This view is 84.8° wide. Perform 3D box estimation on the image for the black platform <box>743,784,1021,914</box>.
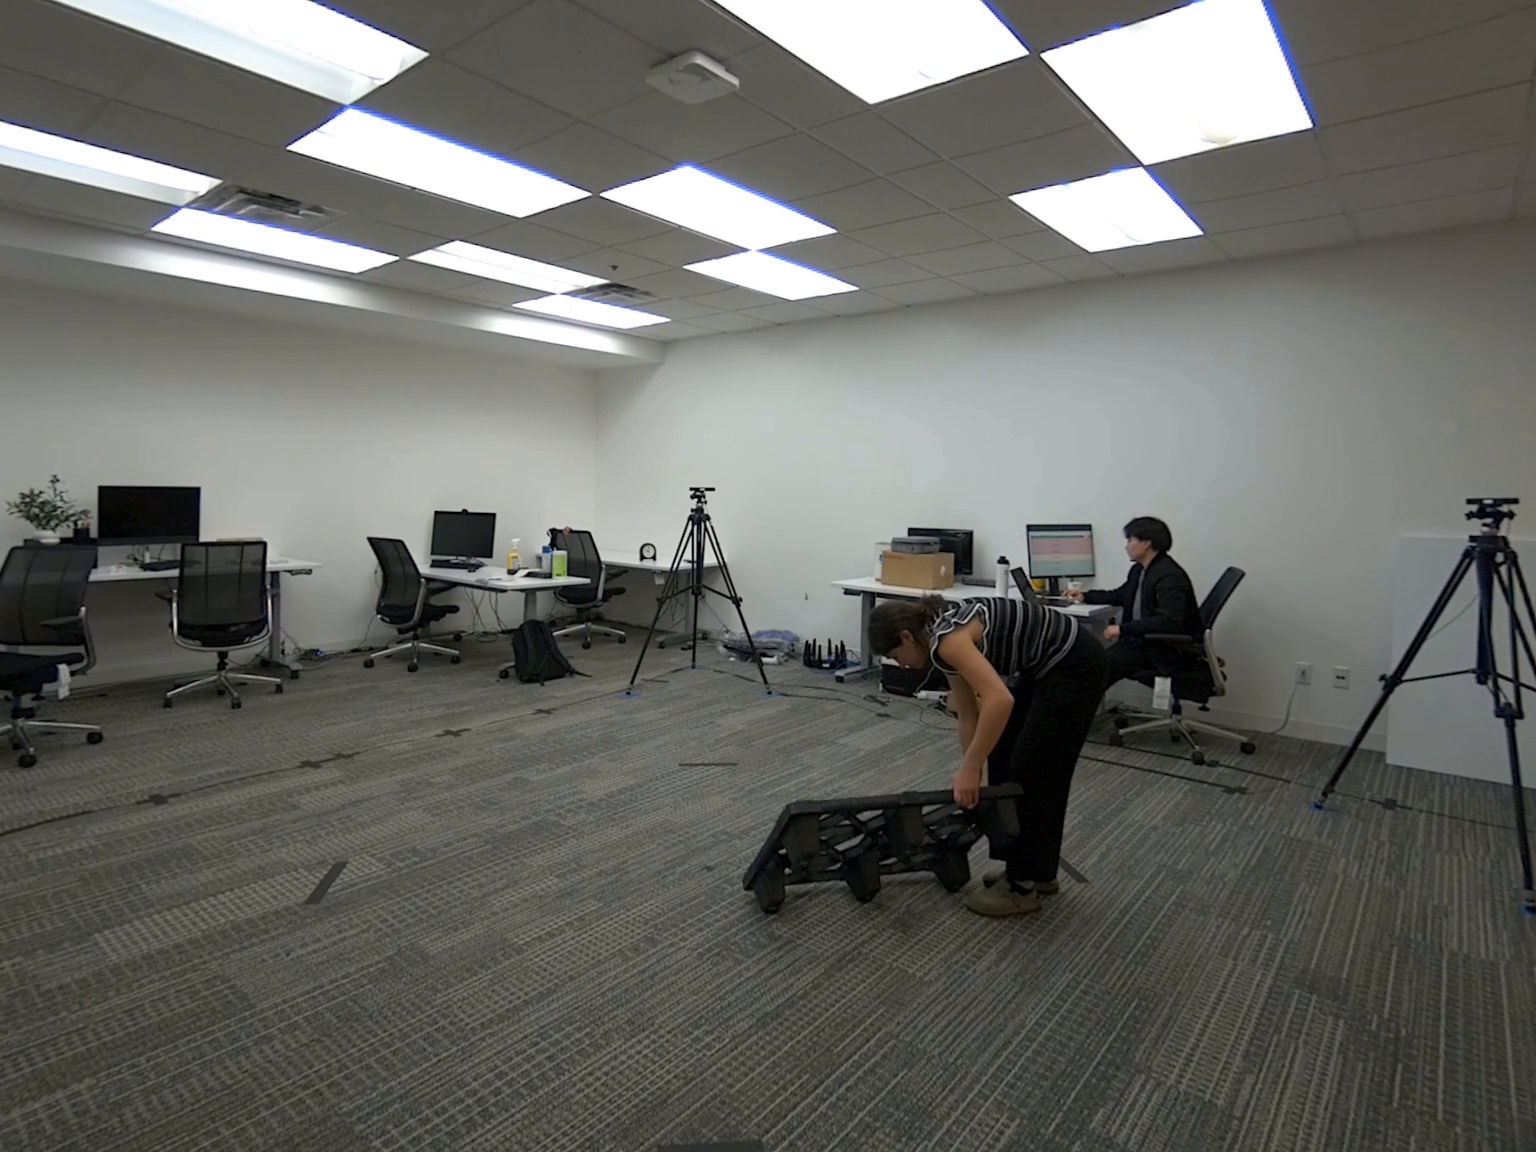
[{"bbox_3d":[0.370,0.898,2.766,0.792,0.148,0.594,1,-41,-17],"label":"black platform"}]
